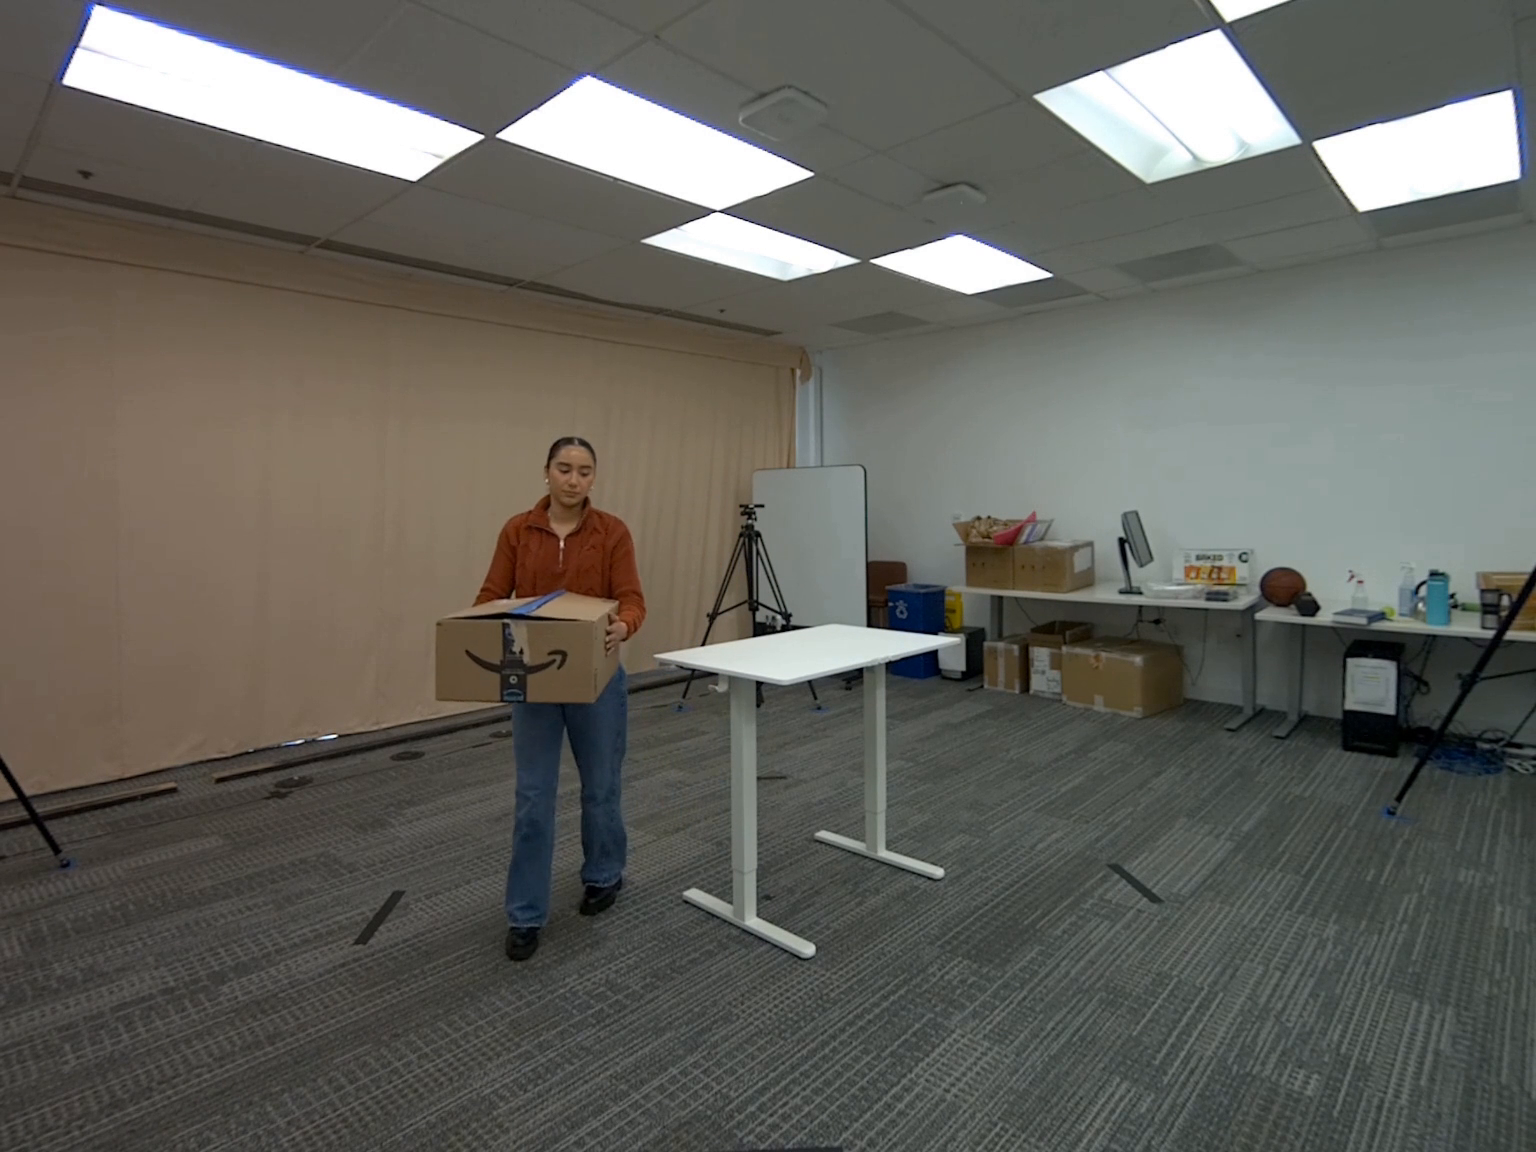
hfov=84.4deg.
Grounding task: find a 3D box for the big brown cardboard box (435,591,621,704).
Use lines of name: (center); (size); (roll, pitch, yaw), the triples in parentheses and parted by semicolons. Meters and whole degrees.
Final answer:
big brown cardboard box: (-0.674, 0.199, 2.453); (0.416, 0.232, 0.592); (0, 5, -4)
